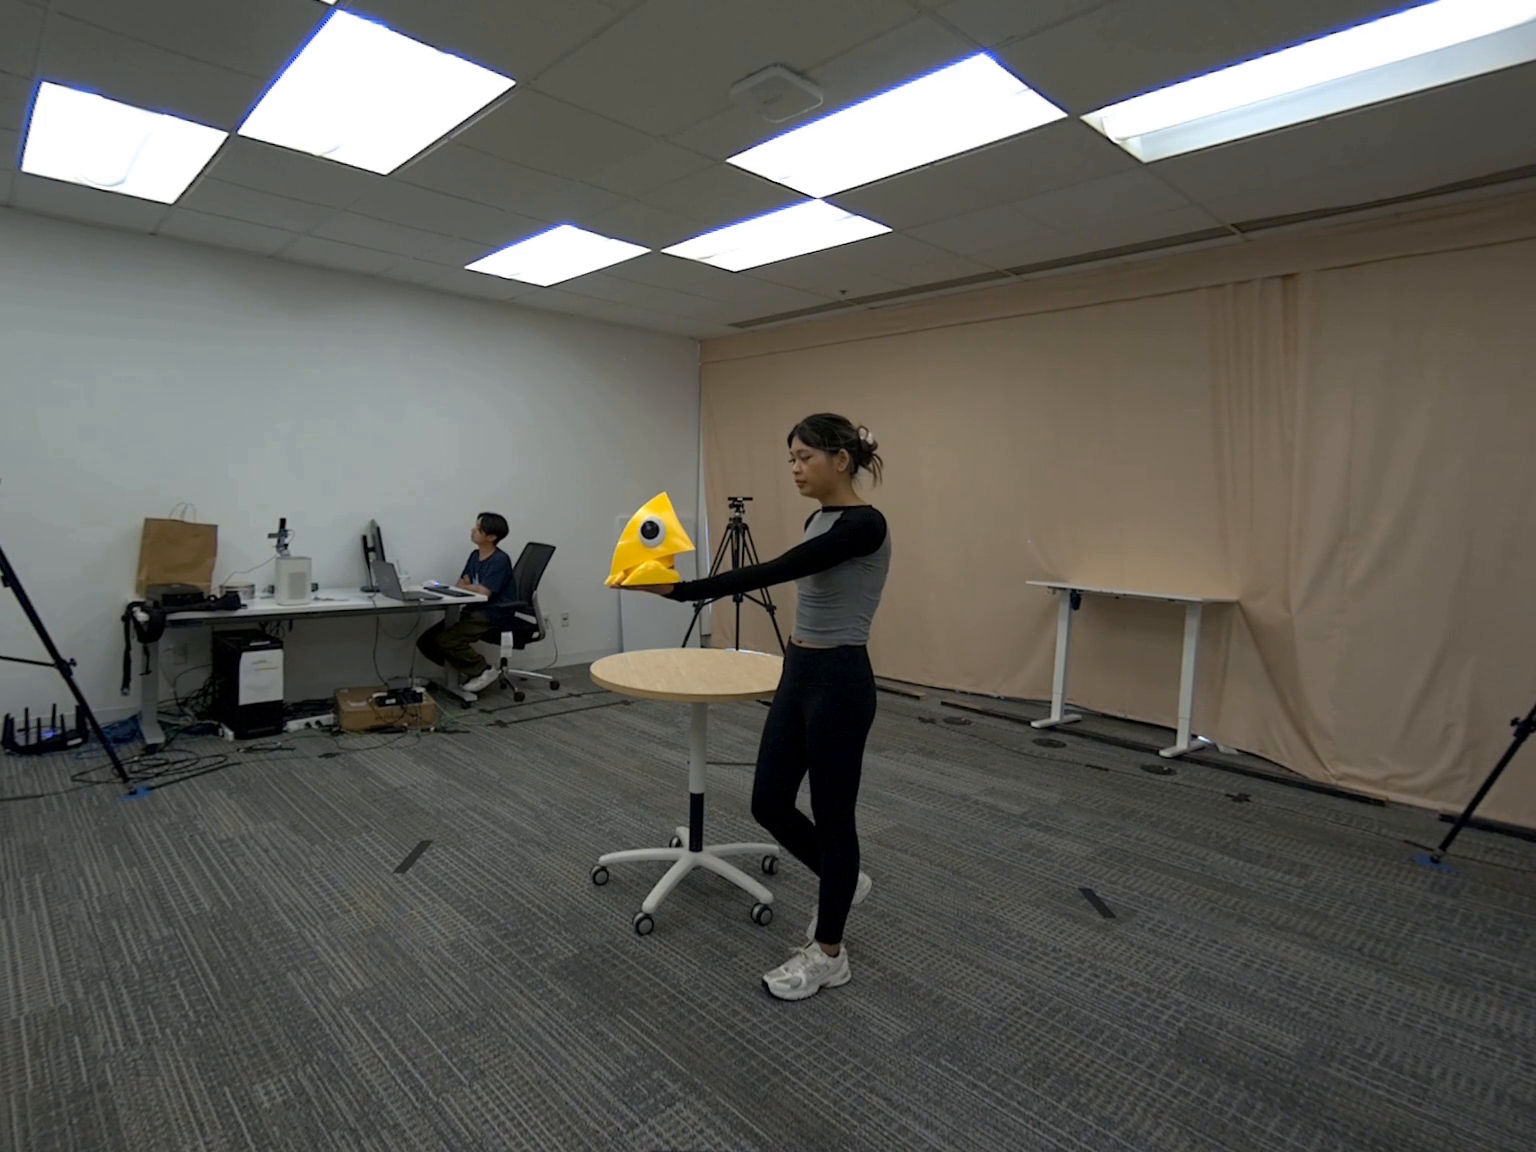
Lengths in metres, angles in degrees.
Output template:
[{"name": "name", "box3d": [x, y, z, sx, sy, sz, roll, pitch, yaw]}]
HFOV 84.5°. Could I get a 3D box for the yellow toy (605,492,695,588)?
[{"name": "yellow toy", "box3d": [-0.315, -0.096, 2.121, 0.189, 0.231, 0.209, -2, 1, -31]}]
